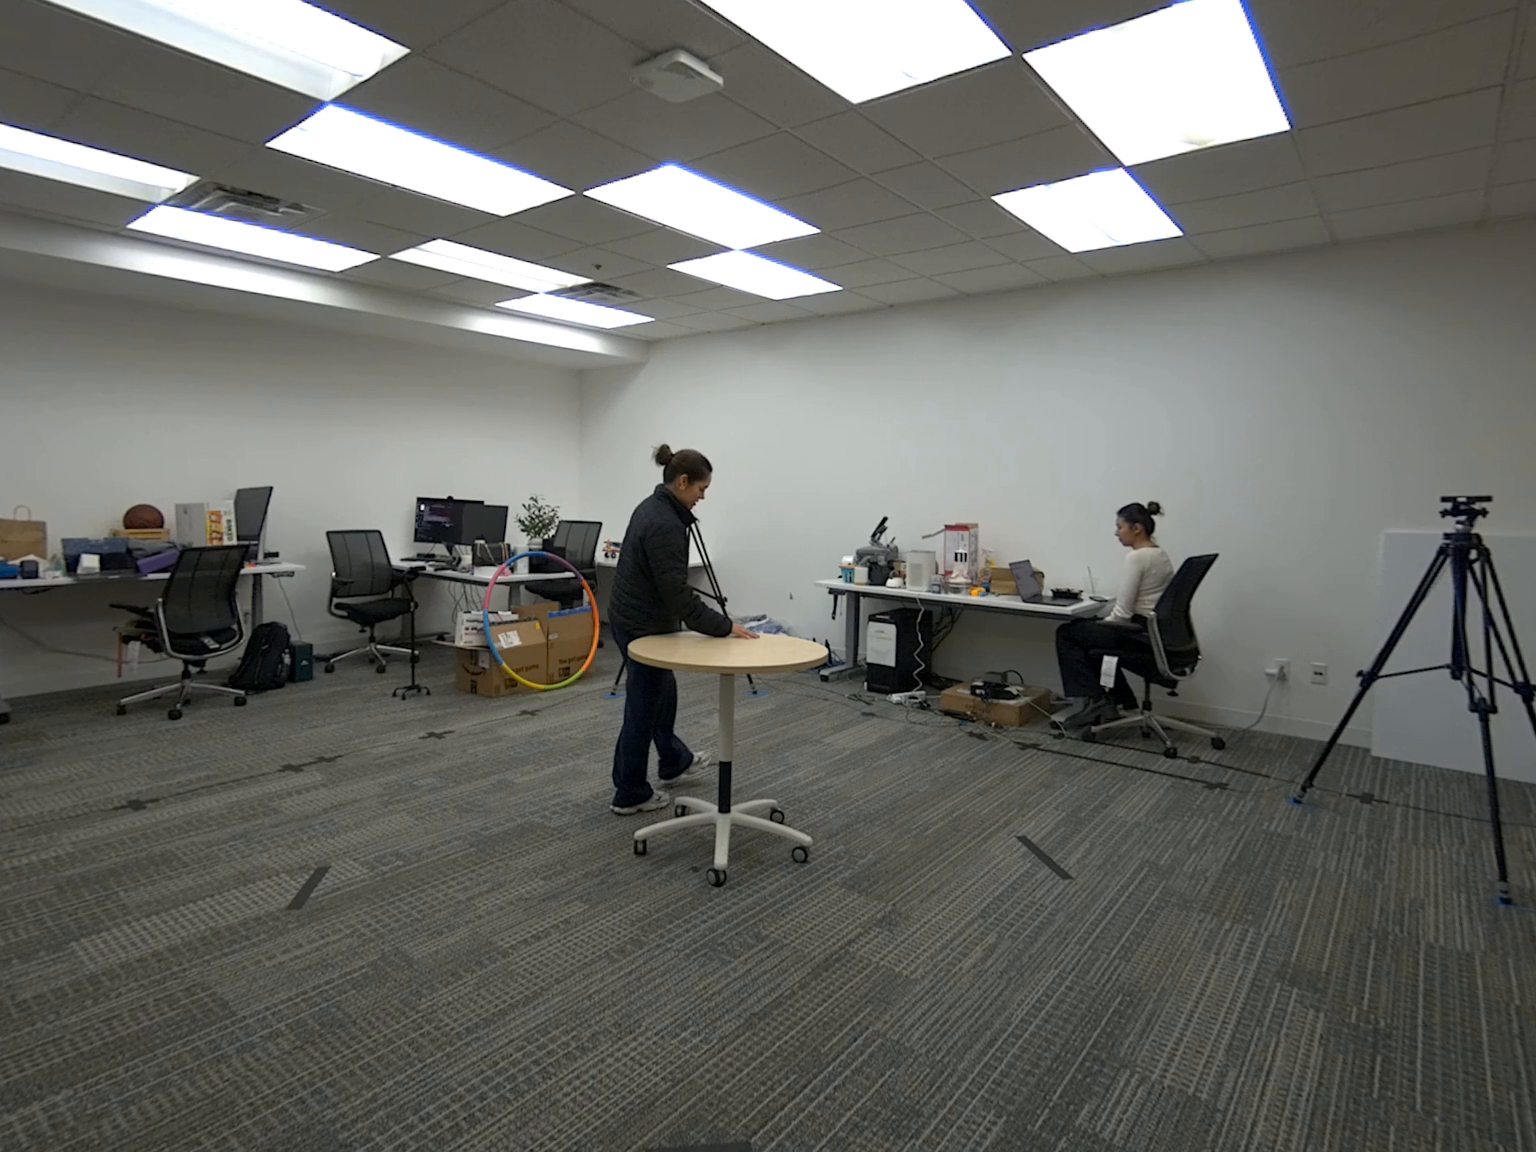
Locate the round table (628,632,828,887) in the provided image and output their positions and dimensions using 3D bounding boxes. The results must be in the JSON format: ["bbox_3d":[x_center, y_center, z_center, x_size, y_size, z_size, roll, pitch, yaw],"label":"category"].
[{"bbox_3d":[-0.136,0.656,3.285,0.784,0.784,0.789,1,4,-2],"label":"round table"}]
